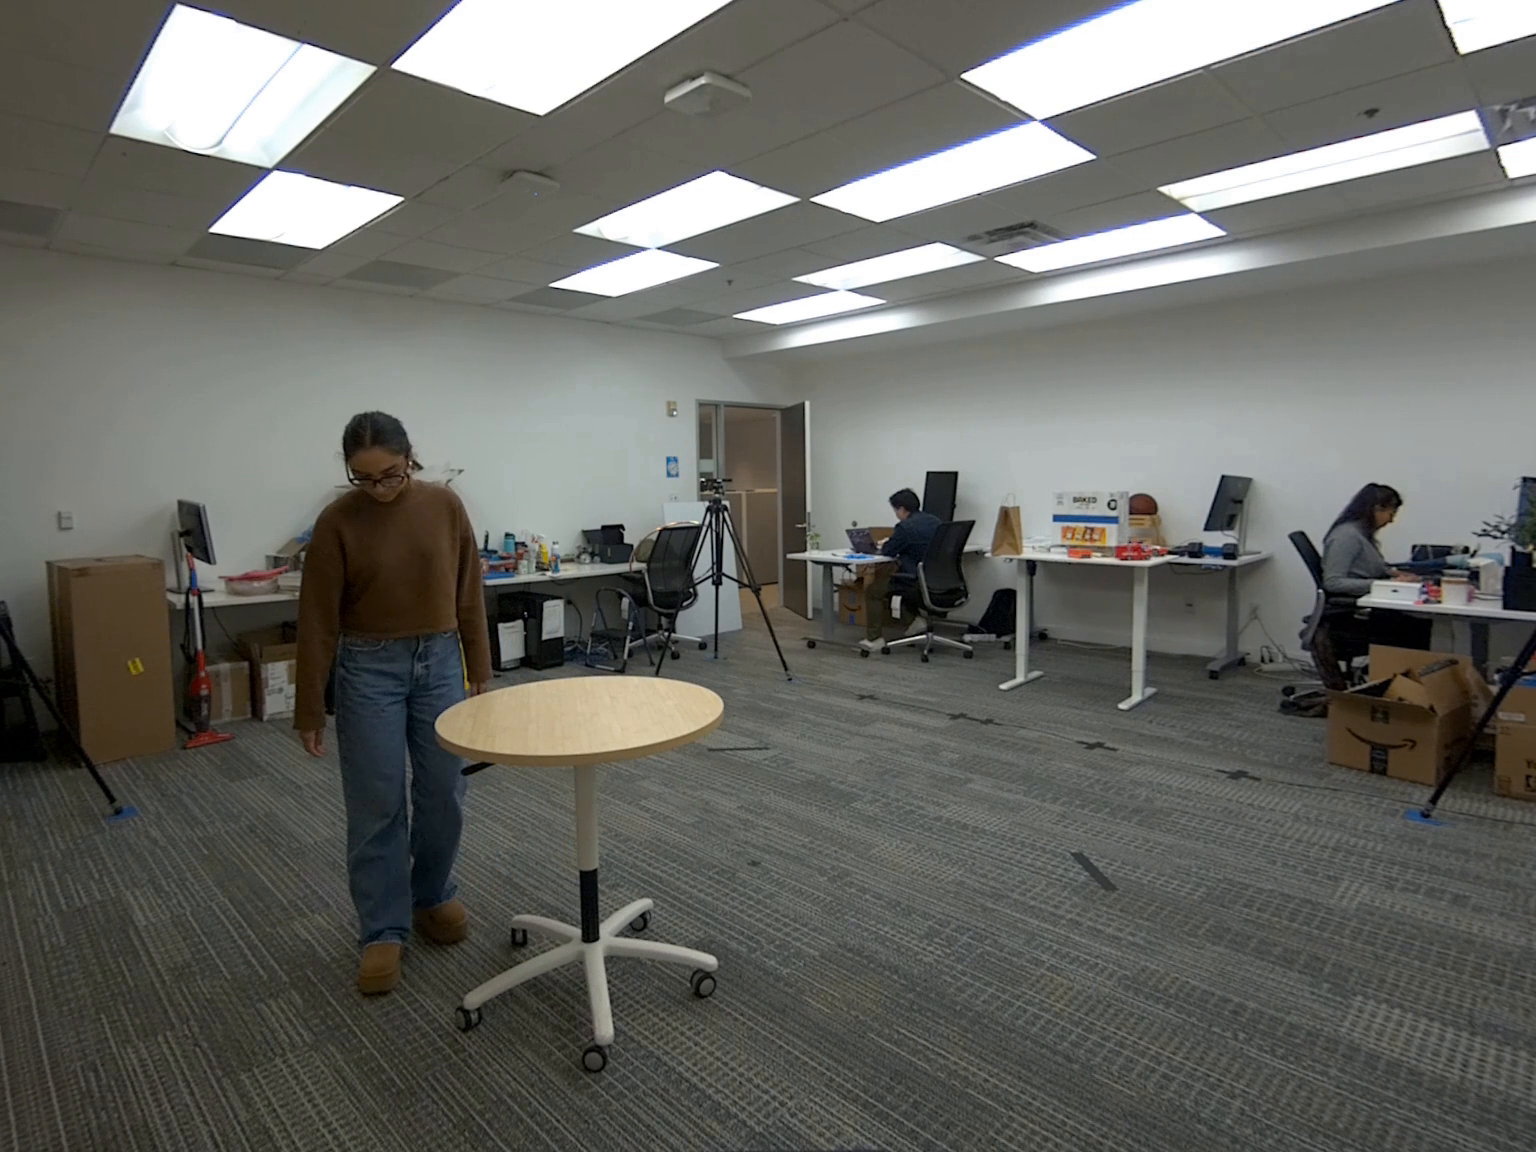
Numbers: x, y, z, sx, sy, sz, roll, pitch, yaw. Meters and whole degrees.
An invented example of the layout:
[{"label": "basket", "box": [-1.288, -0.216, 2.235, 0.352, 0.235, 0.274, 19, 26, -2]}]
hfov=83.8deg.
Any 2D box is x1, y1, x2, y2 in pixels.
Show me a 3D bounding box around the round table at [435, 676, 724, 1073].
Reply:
[{"label": "round table", "box": [-0.495, 0.751, 2.343, 0.763, 0.791, 0.768, -2, 5, -2]}]
